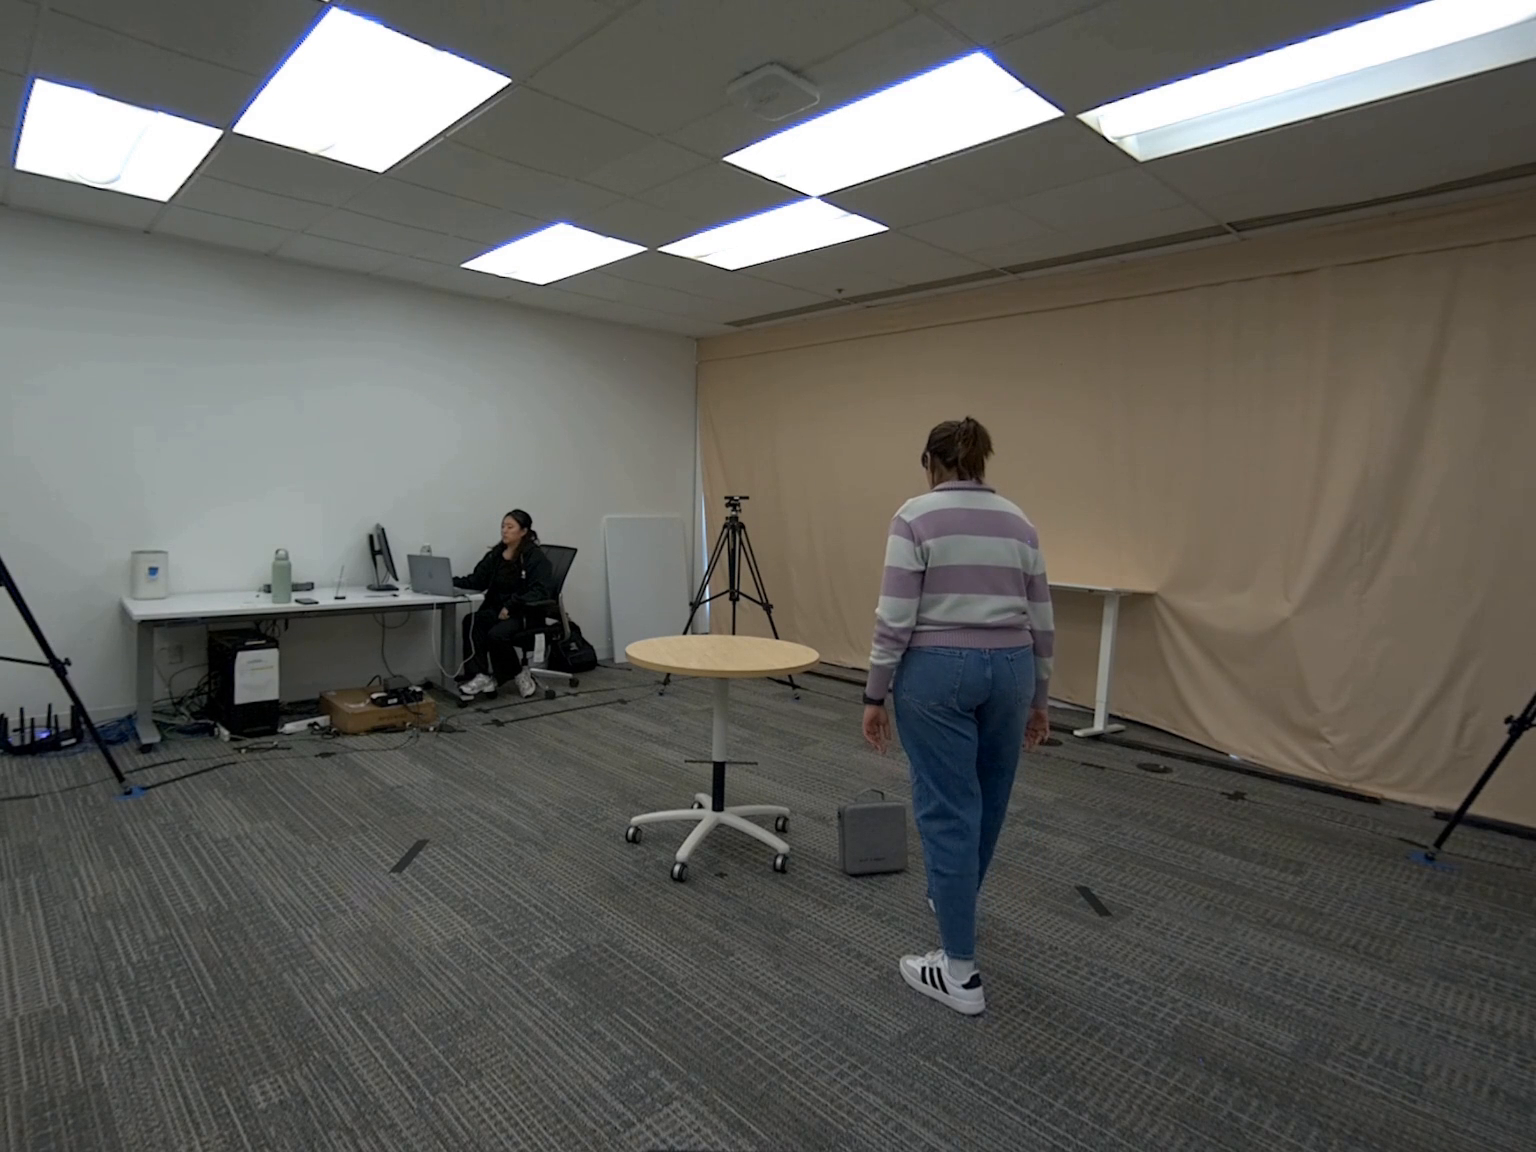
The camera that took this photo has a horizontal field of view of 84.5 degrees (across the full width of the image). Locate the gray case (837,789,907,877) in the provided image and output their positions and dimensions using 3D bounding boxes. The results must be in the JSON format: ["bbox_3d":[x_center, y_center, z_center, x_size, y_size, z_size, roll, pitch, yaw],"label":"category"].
[{"bbox_3d":[0.386,0.974,3.178,0.254,0.262,0.105,0,-5,-15],"label":"gray case"}]
